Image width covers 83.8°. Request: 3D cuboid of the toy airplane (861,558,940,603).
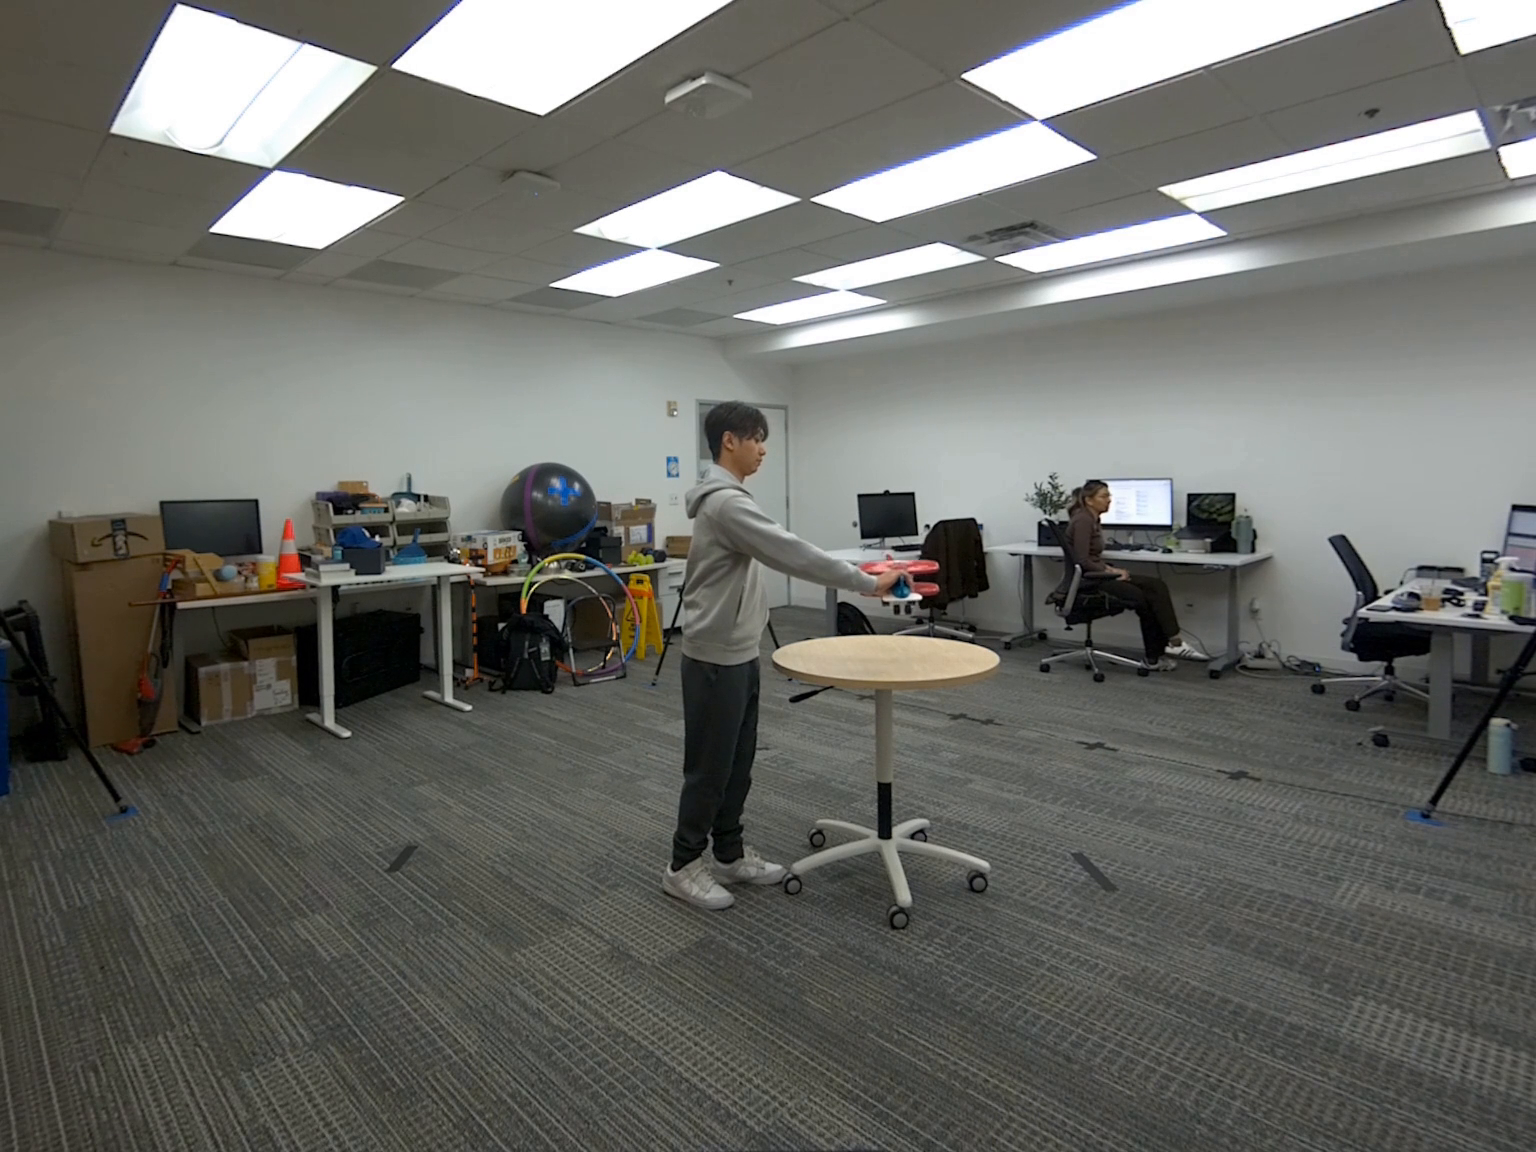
[{"bbox_3d":[0.448,0.029,2.749,0.247,0.156,0.265,-5,5,-21],"label":"toy airplane"}]
